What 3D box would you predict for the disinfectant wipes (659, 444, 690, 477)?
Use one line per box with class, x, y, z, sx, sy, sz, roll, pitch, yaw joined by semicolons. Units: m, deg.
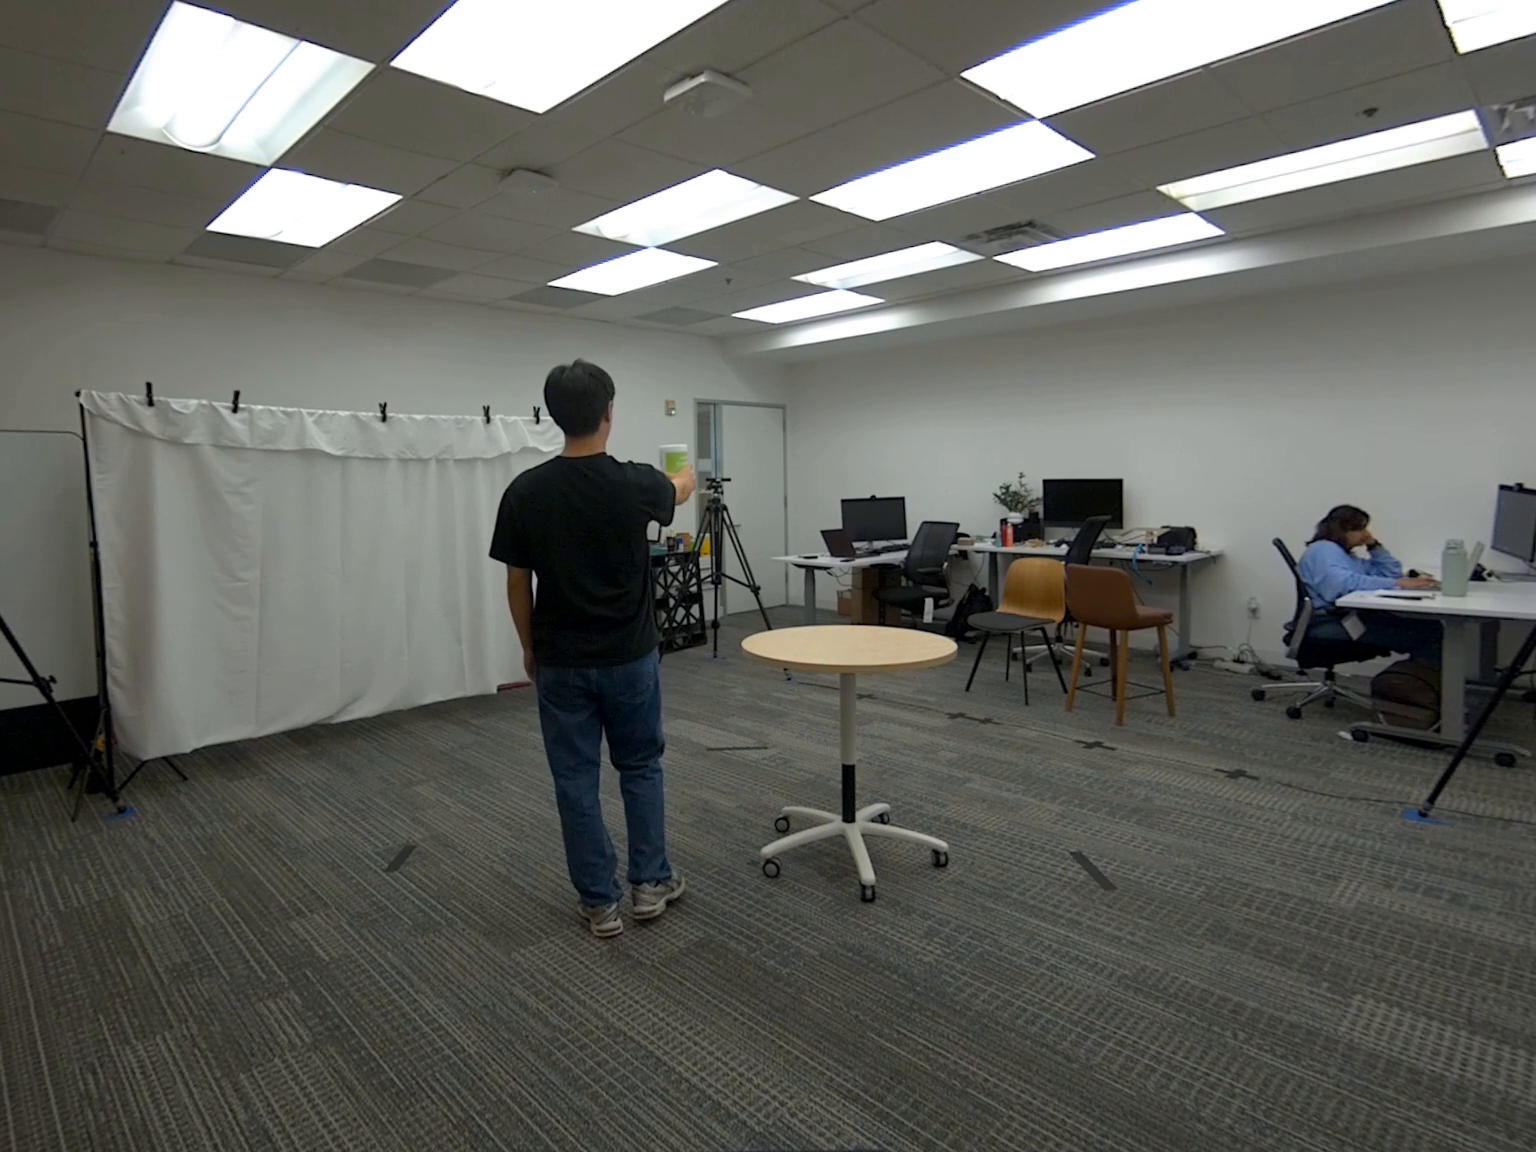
disinfectant wipes;-0.354;-0.391;3.245;0.118;0.216;0.119;-2;8;-1
